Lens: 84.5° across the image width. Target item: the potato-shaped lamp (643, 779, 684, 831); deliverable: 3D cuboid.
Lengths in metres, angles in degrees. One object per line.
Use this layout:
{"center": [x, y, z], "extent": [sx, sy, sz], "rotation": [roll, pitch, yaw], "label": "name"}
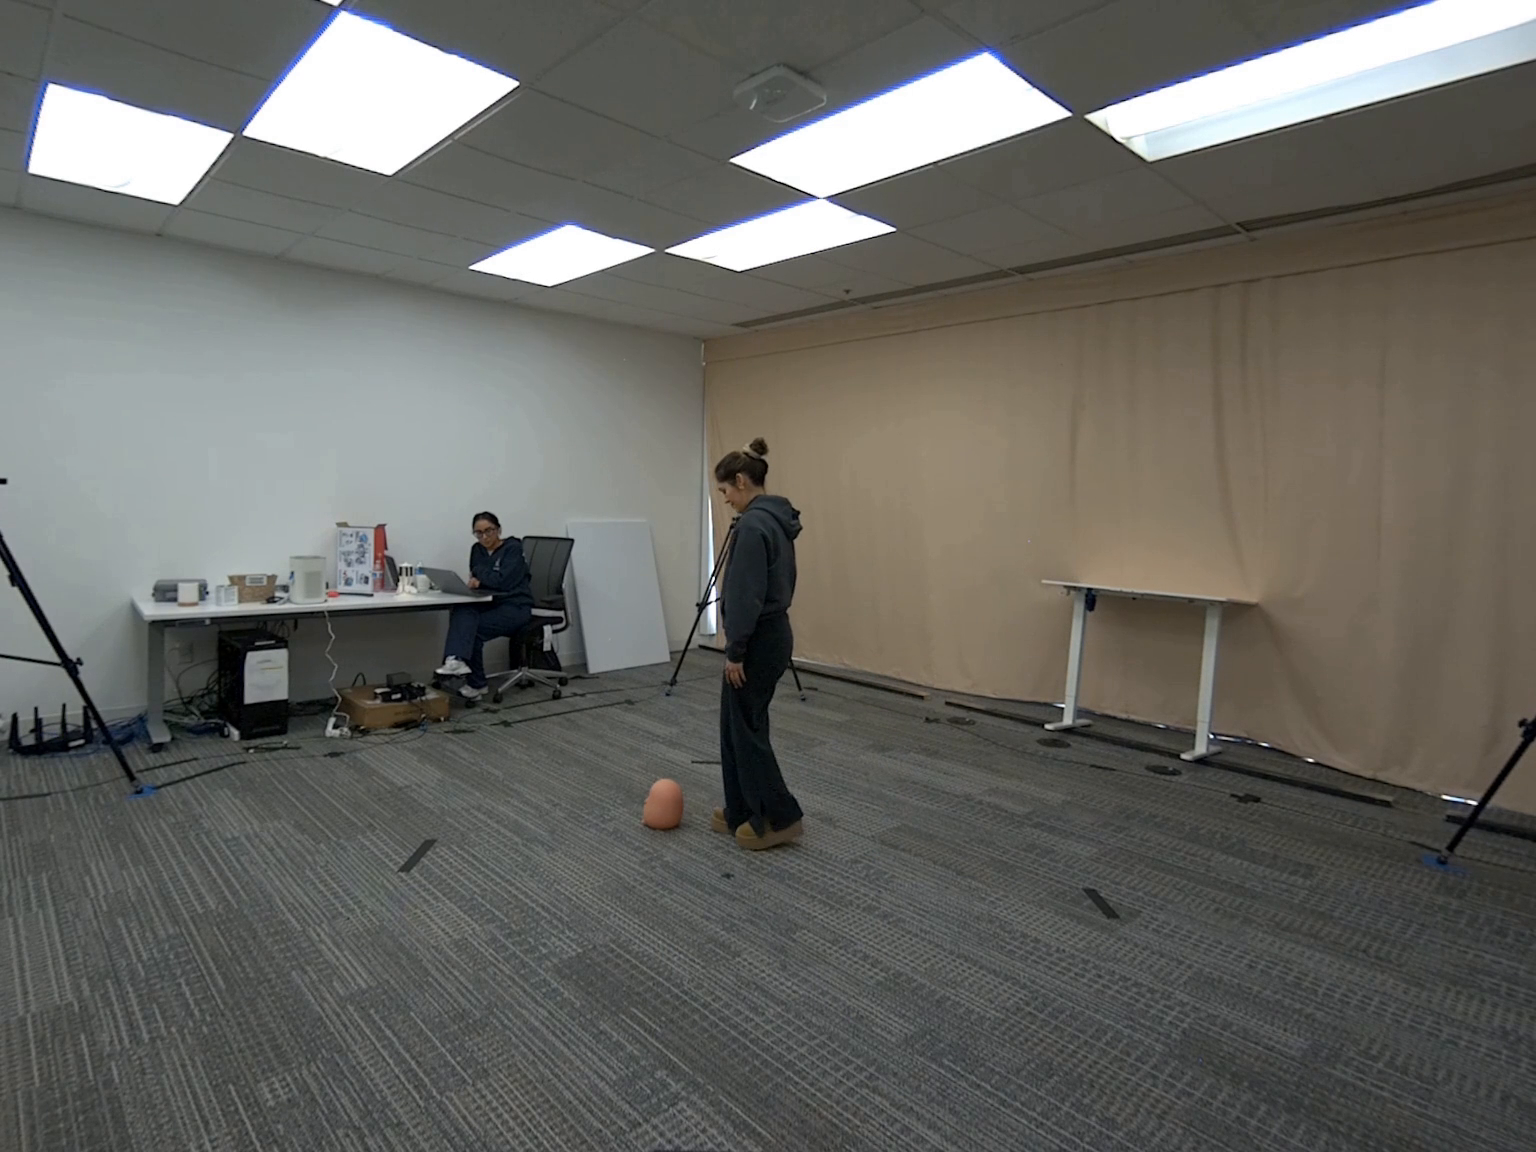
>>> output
{"center": [-0.447, 0.950, 3.573], "extent": [0.176, 0.198, 0.161], "rotation": [4, 4, 39], "label": "potato-shaped lamp"}
